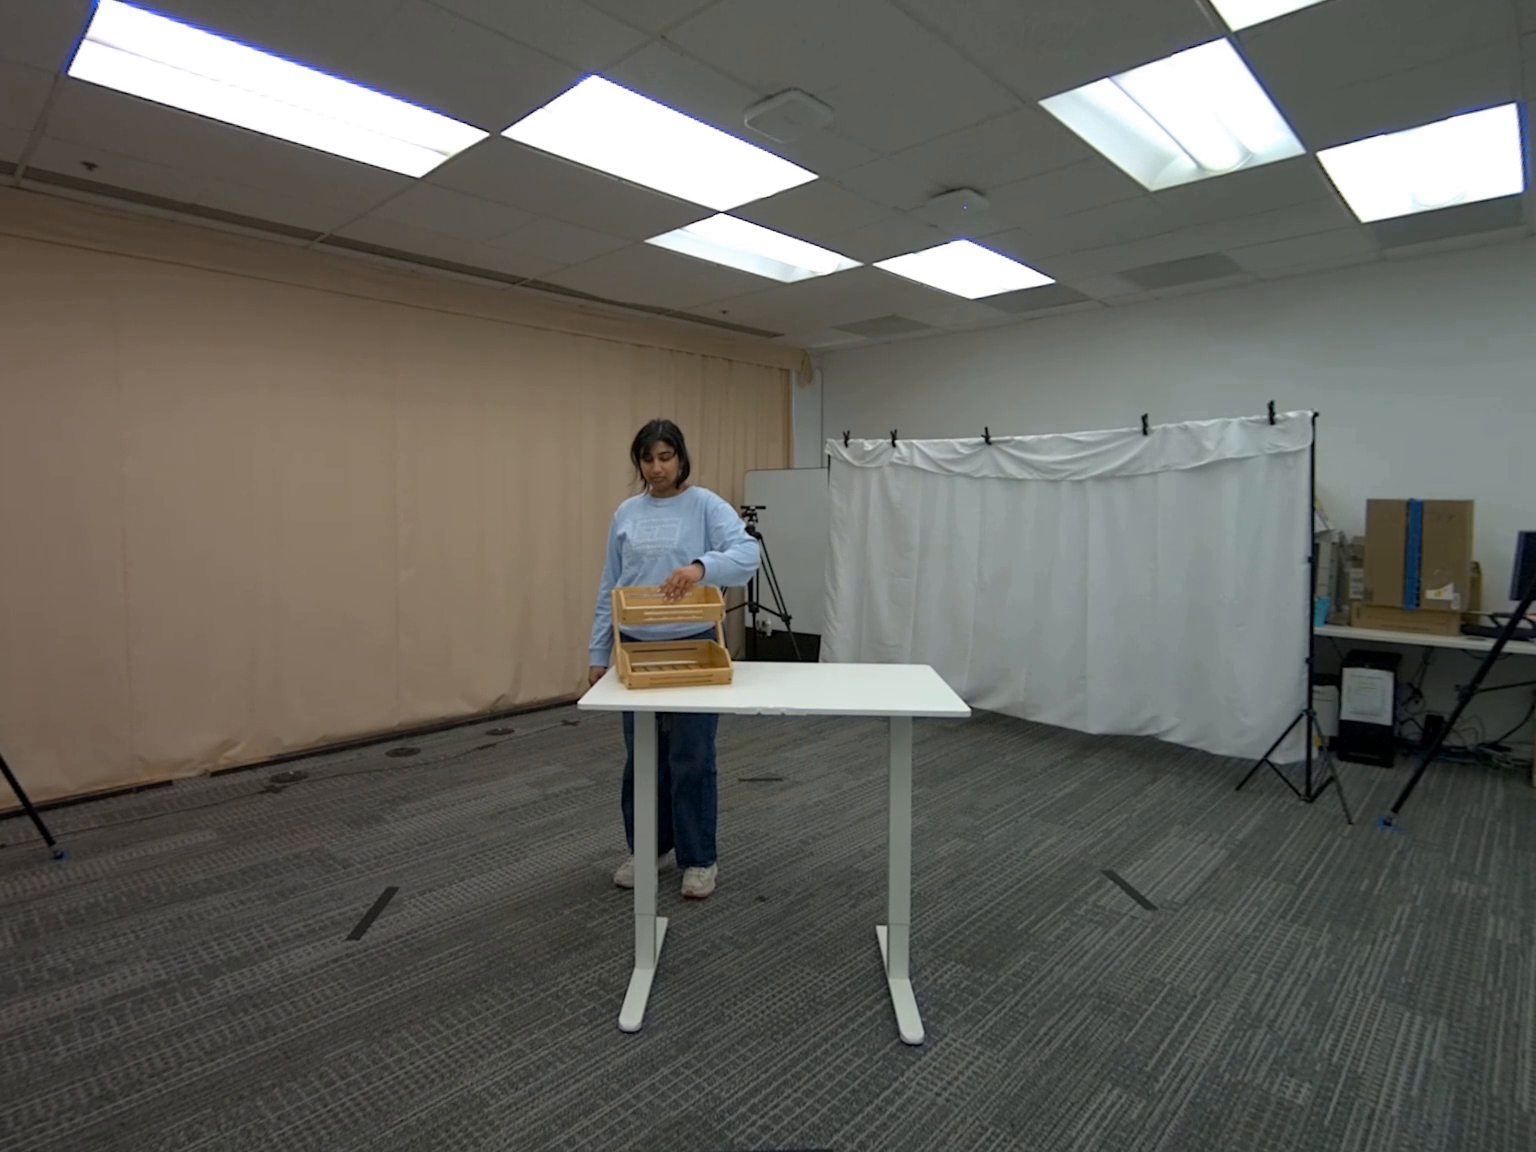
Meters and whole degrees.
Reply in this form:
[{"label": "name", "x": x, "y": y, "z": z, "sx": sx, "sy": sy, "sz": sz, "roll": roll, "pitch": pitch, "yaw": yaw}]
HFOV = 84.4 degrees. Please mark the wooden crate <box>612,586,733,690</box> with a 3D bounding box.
[{"label": "wooden crate", "x": -0.287, "y": 0.171, "z": 2.493, "sx": 0.319, "sy": 0.273, "sz": 0.307, "roll": -1, "pitch": 3, "yaw": -16}]
